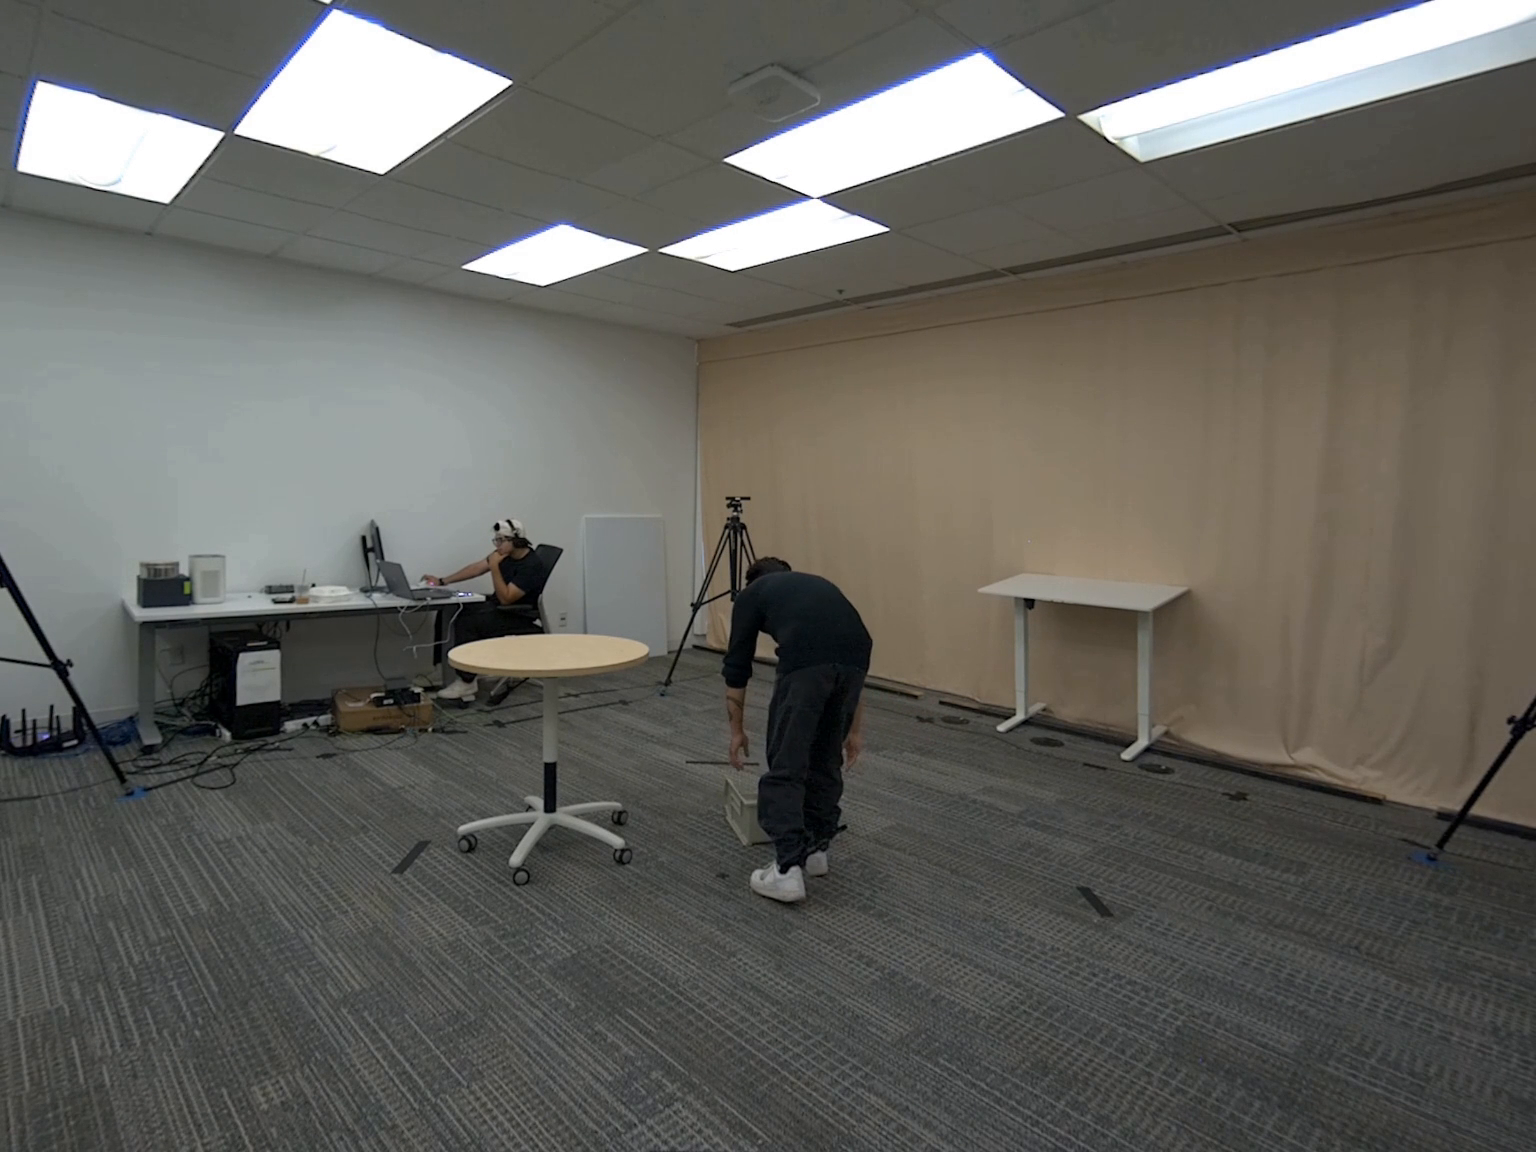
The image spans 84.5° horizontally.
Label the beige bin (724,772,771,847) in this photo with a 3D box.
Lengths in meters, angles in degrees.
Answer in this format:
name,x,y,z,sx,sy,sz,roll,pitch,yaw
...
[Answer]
name,x,y,z,sx,sy,sz,roll,pitch,yaw
beige bin,0.049,0.977,3.592,0.417,0.188,0.383,0,6,-15
